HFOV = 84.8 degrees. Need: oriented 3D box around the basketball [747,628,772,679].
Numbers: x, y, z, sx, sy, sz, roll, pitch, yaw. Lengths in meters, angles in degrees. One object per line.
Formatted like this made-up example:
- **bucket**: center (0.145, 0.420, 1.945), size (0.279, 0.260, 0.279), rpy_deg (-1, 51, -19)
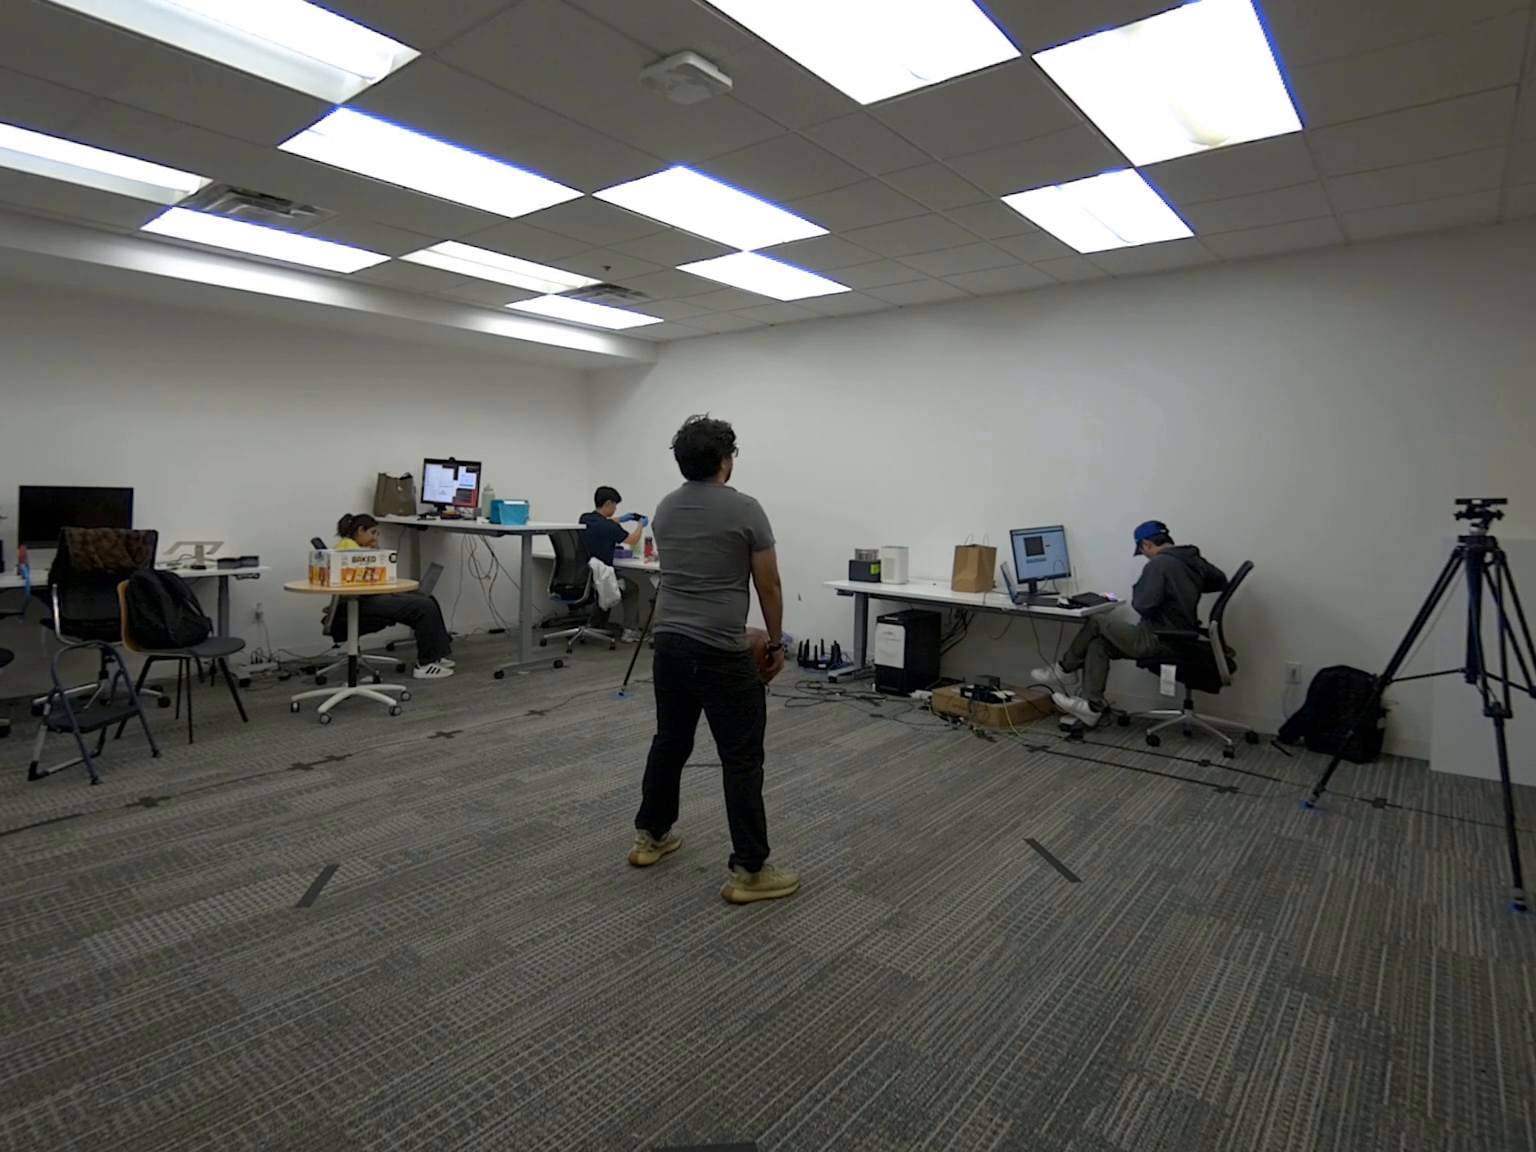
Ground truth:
- **basketball**: center (-0.070, 0.315, 3.279), size (0.235, 0.235, 0.237), rpy_deg (1, 4, -2)
